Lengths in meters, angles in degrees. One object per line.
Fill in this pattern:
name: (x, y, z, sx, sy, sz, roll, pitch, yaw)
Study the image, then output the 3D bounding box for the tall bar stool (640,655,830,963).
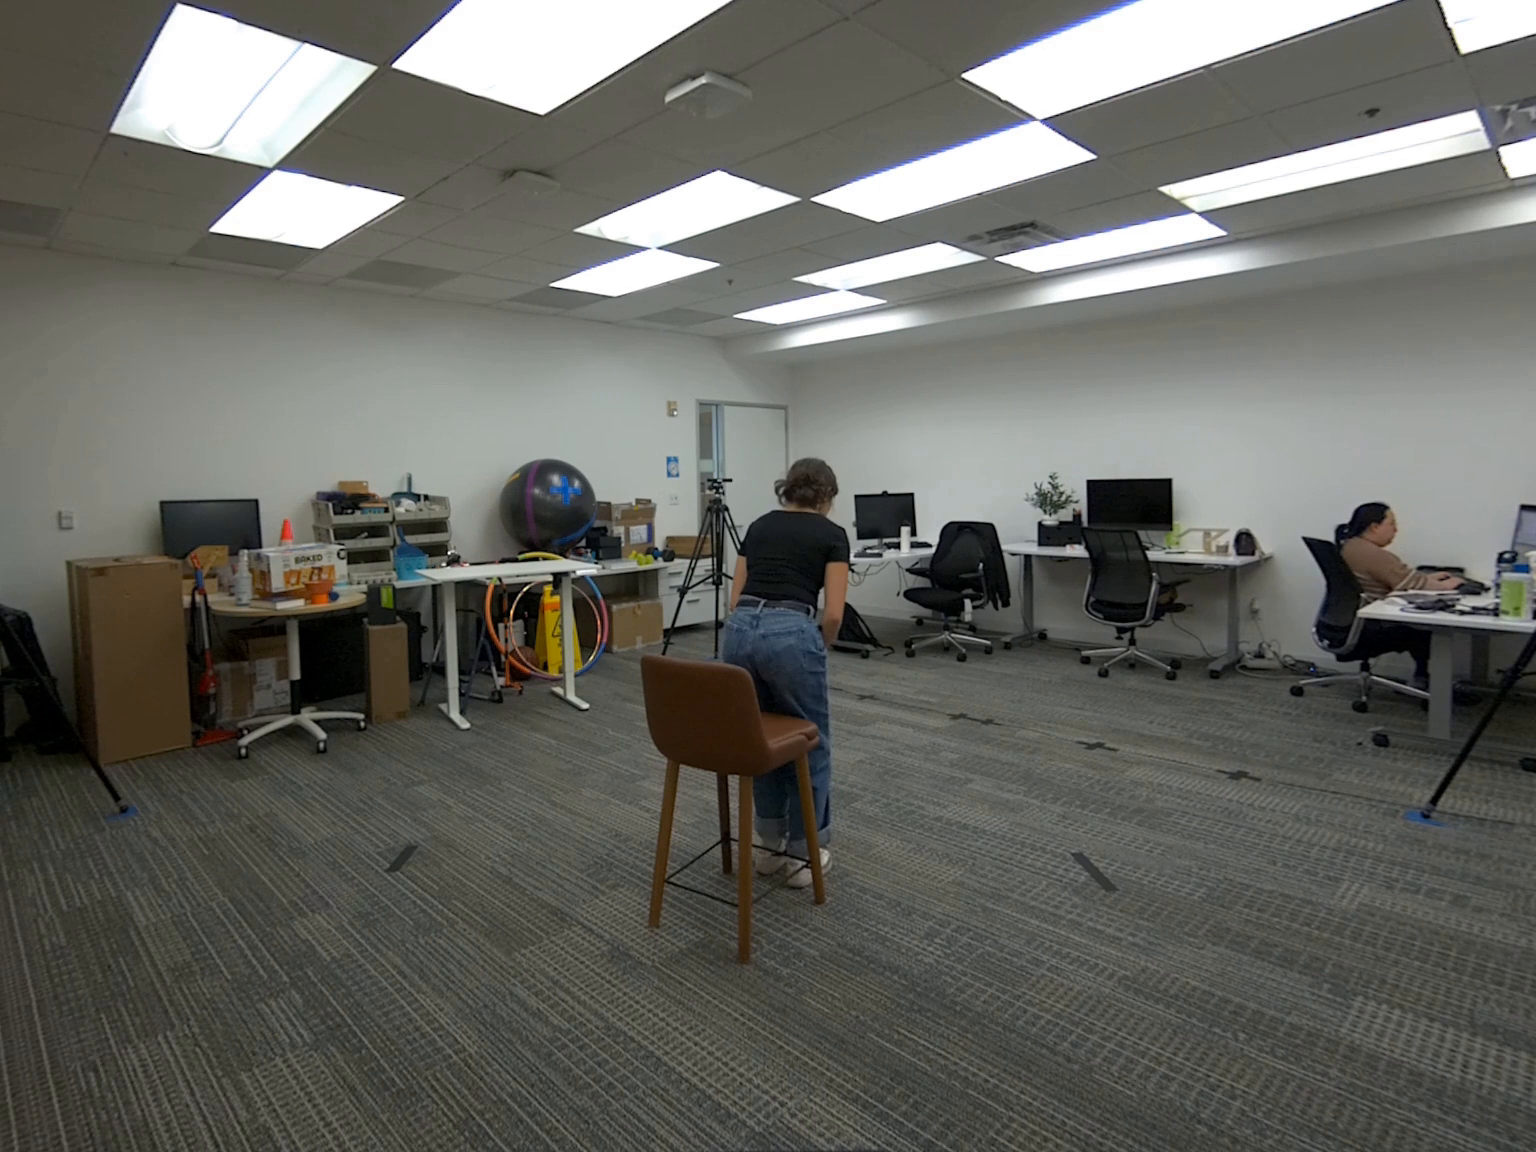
tall bar stool: (-0.114, 0.657, 2.722, 0.469, 0.885, 0.457, 2, 7, 35)
